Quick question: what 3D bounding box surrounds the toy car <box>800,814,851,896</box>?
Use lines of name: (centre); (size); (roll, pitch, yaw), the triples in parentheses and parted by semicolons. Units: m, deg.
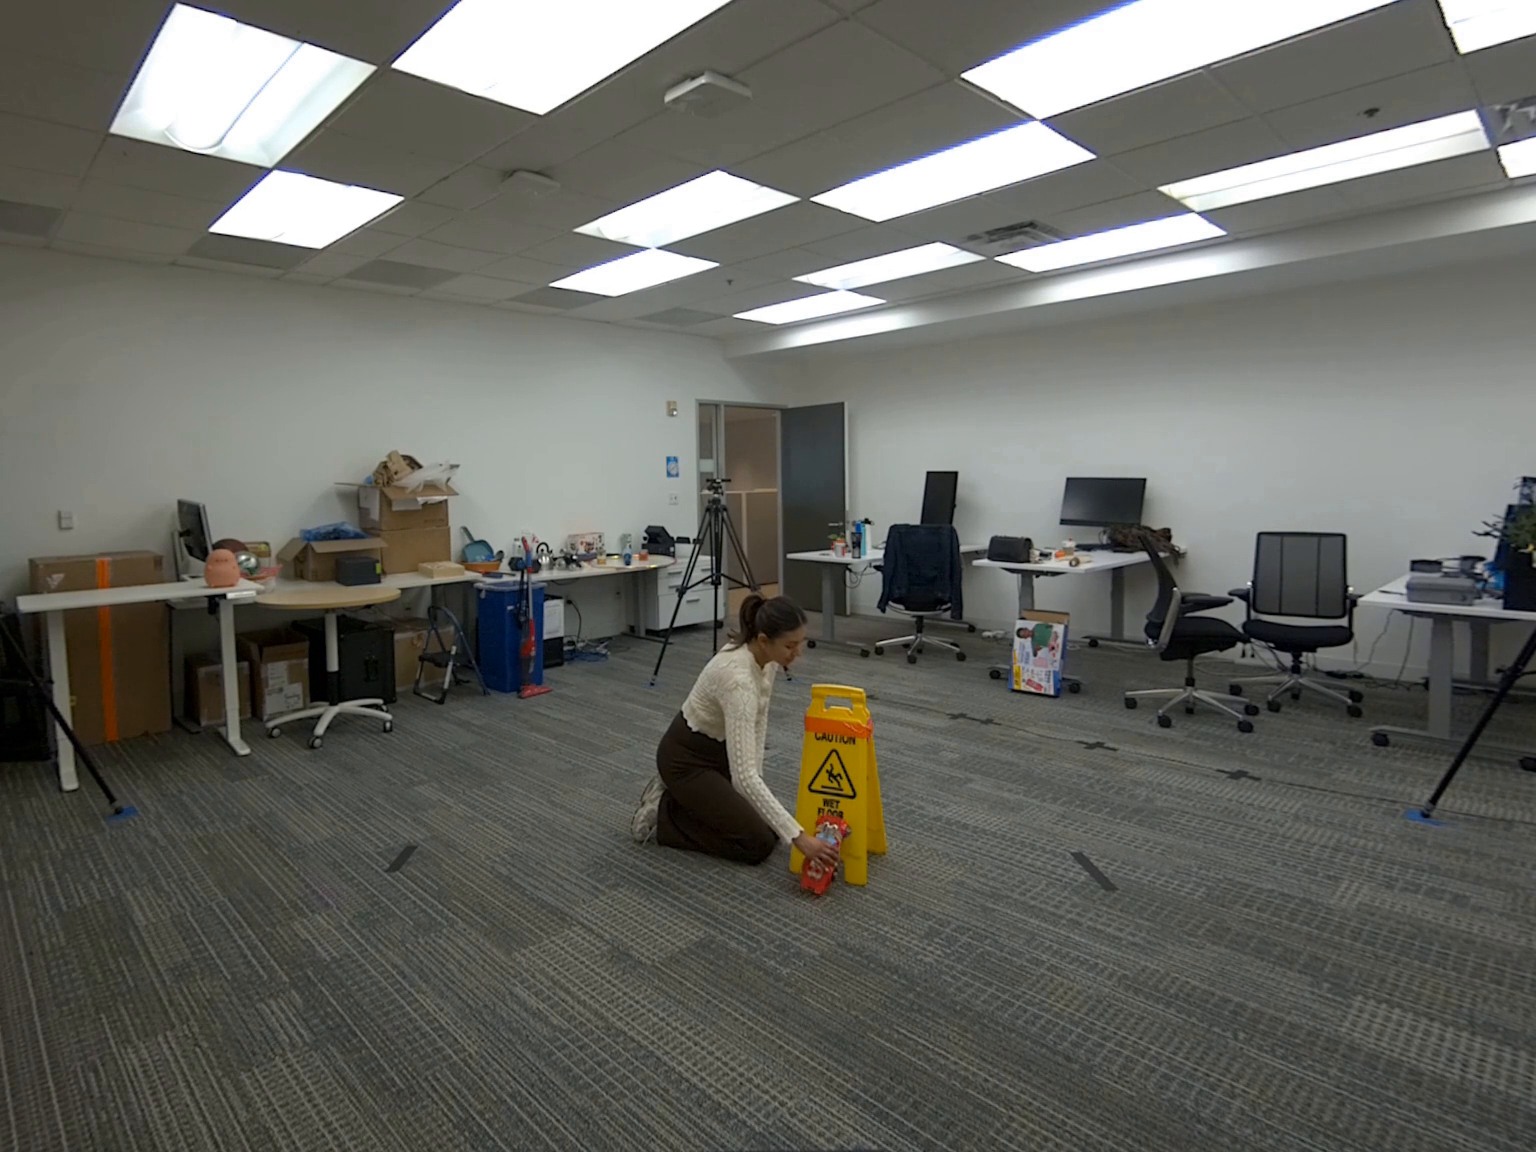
toy car: (0.191, 0.951, 2.901); (0.134, 0.257, 0.080); (9, -32, 30)
